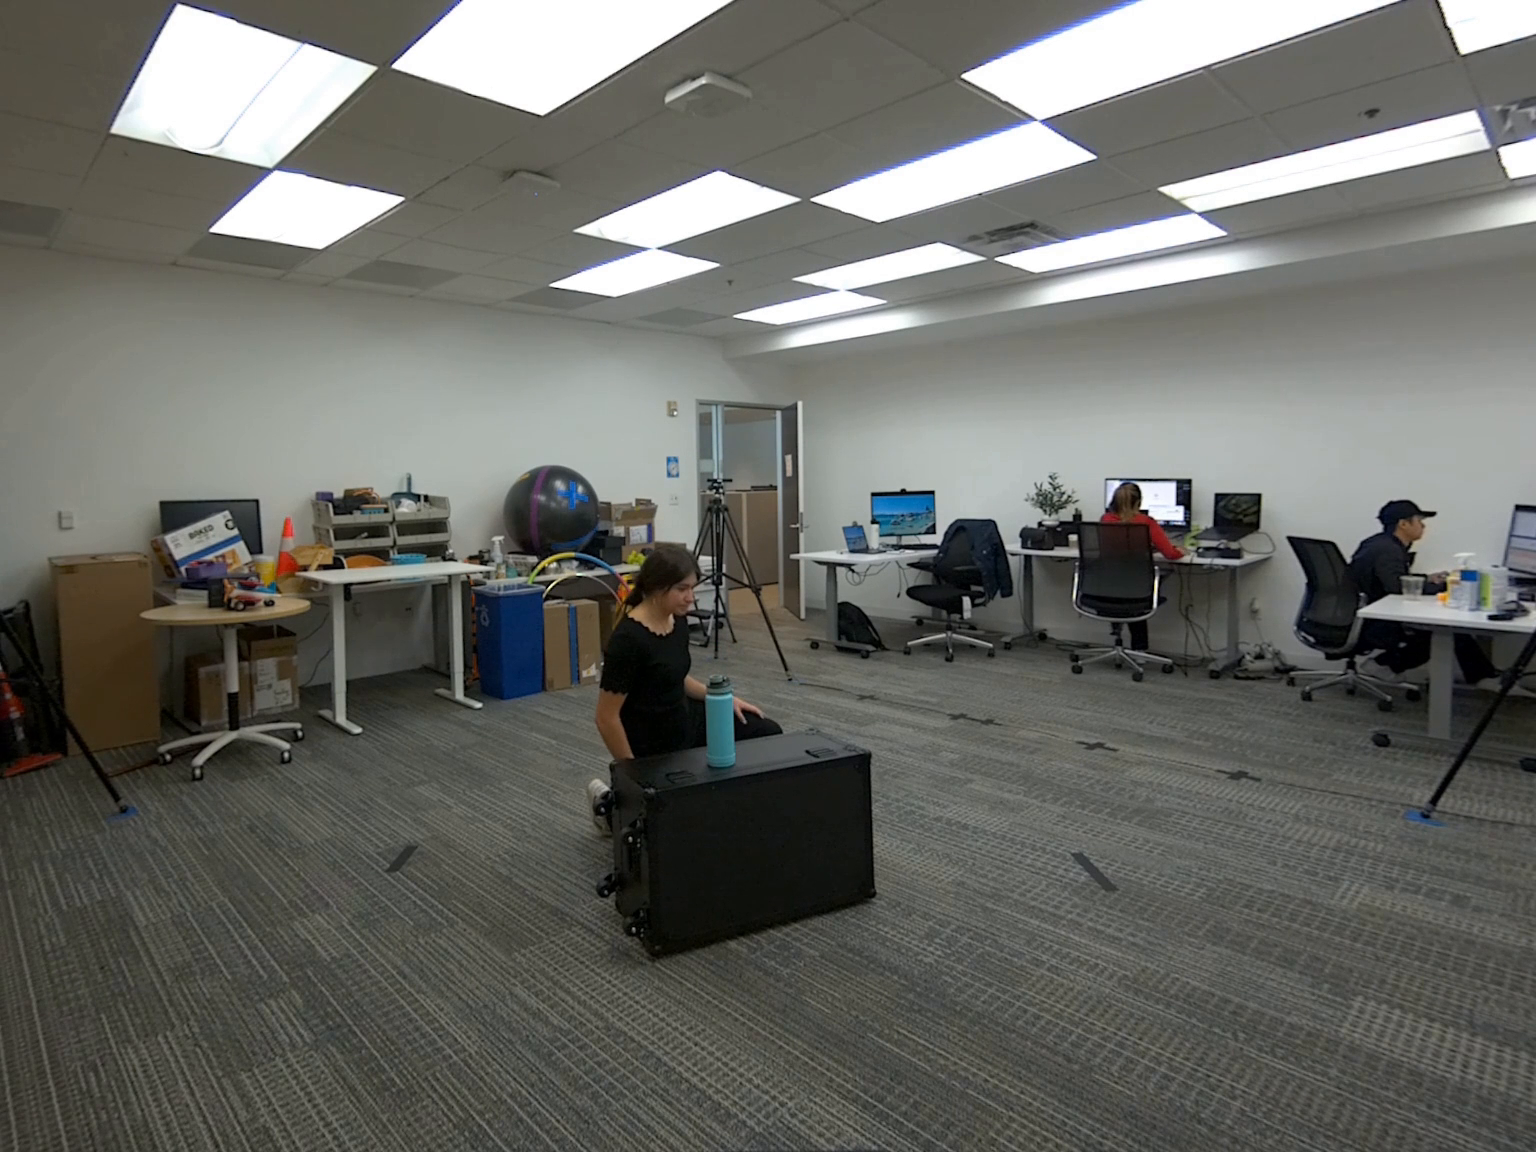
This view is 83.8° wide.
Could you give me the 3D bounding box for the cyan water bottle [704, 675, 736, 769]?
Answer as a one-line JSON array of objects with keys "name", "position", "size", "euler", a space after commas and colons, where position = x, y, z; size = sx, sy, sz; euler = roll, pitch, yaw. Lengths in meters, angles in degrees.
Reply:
[{"name": "cyan water bottle", "position": [-0.153, 0.461, 2.733], "size": [0.092, 0.283, 0.092], "euler": [-1, 1, -2]}]
